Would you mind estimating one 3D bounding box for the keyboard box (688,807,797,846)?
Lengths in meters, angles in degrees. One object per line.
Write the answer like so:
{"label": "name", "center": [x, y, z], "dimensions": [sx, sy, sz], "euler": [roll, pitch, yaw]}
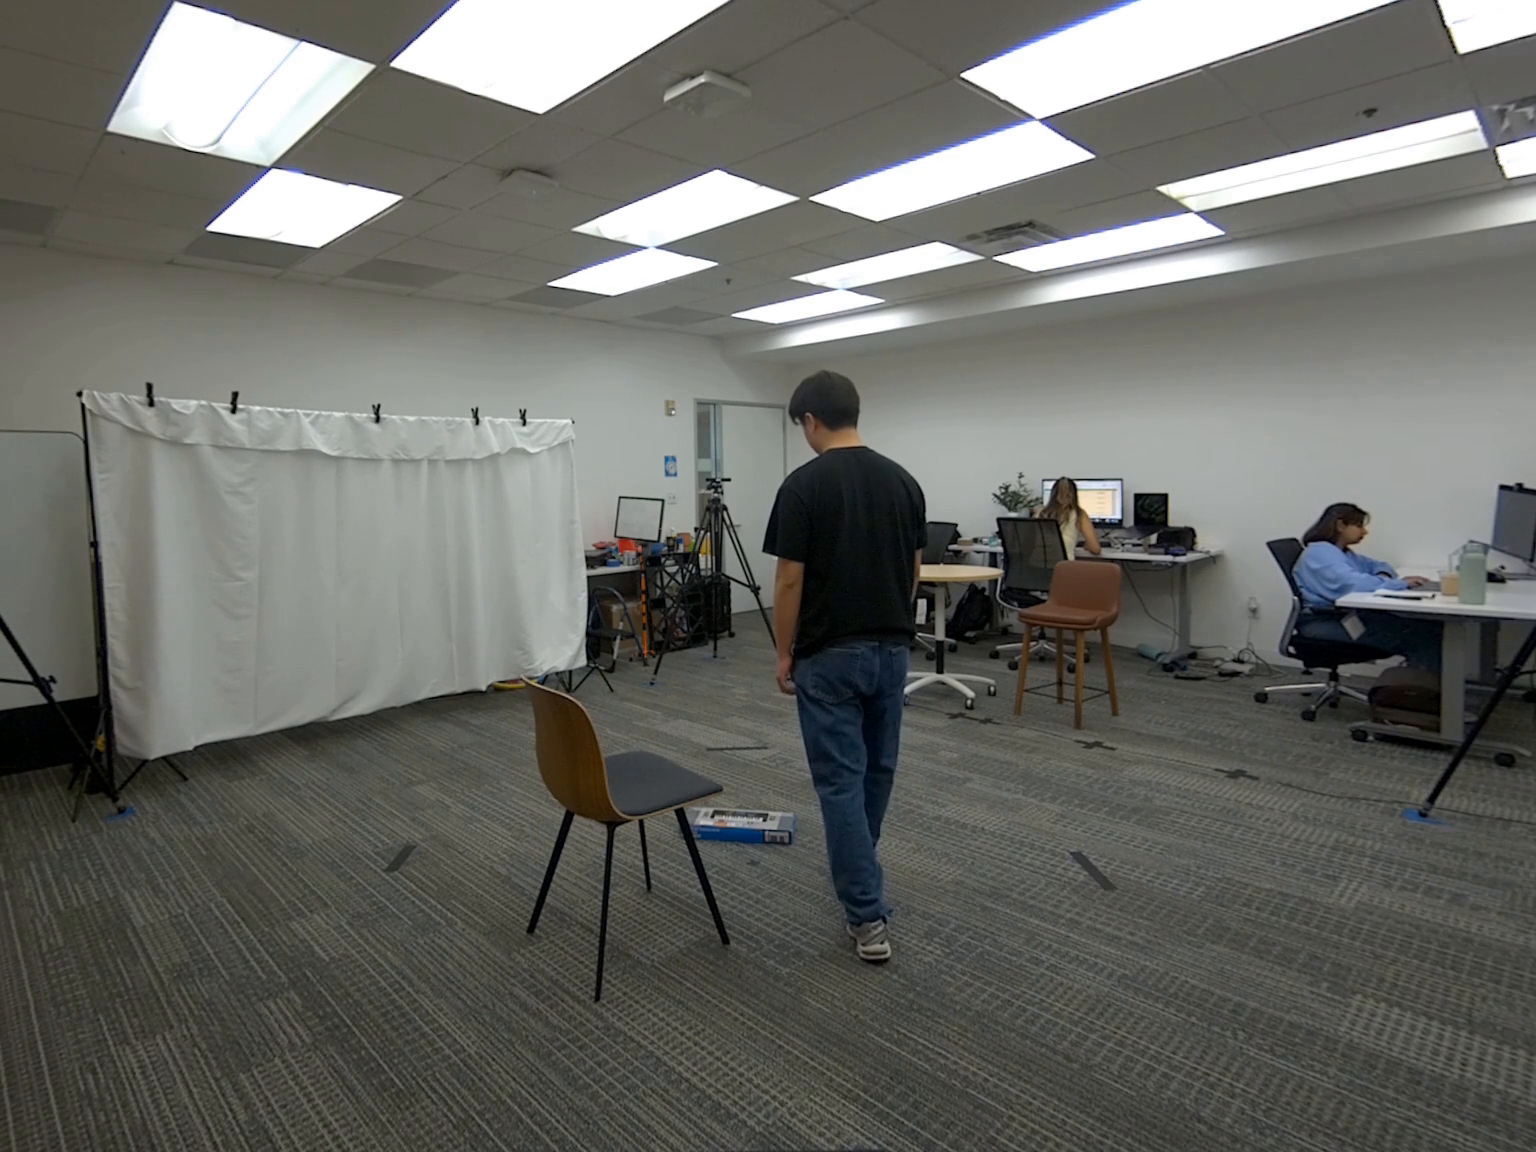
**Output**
{"label": "keyboard box", "center": [-0.114, 0.985, 3.371], "dimensions": [0.441, 0.059, 0.175], "euler": [0, 7, 10]}
